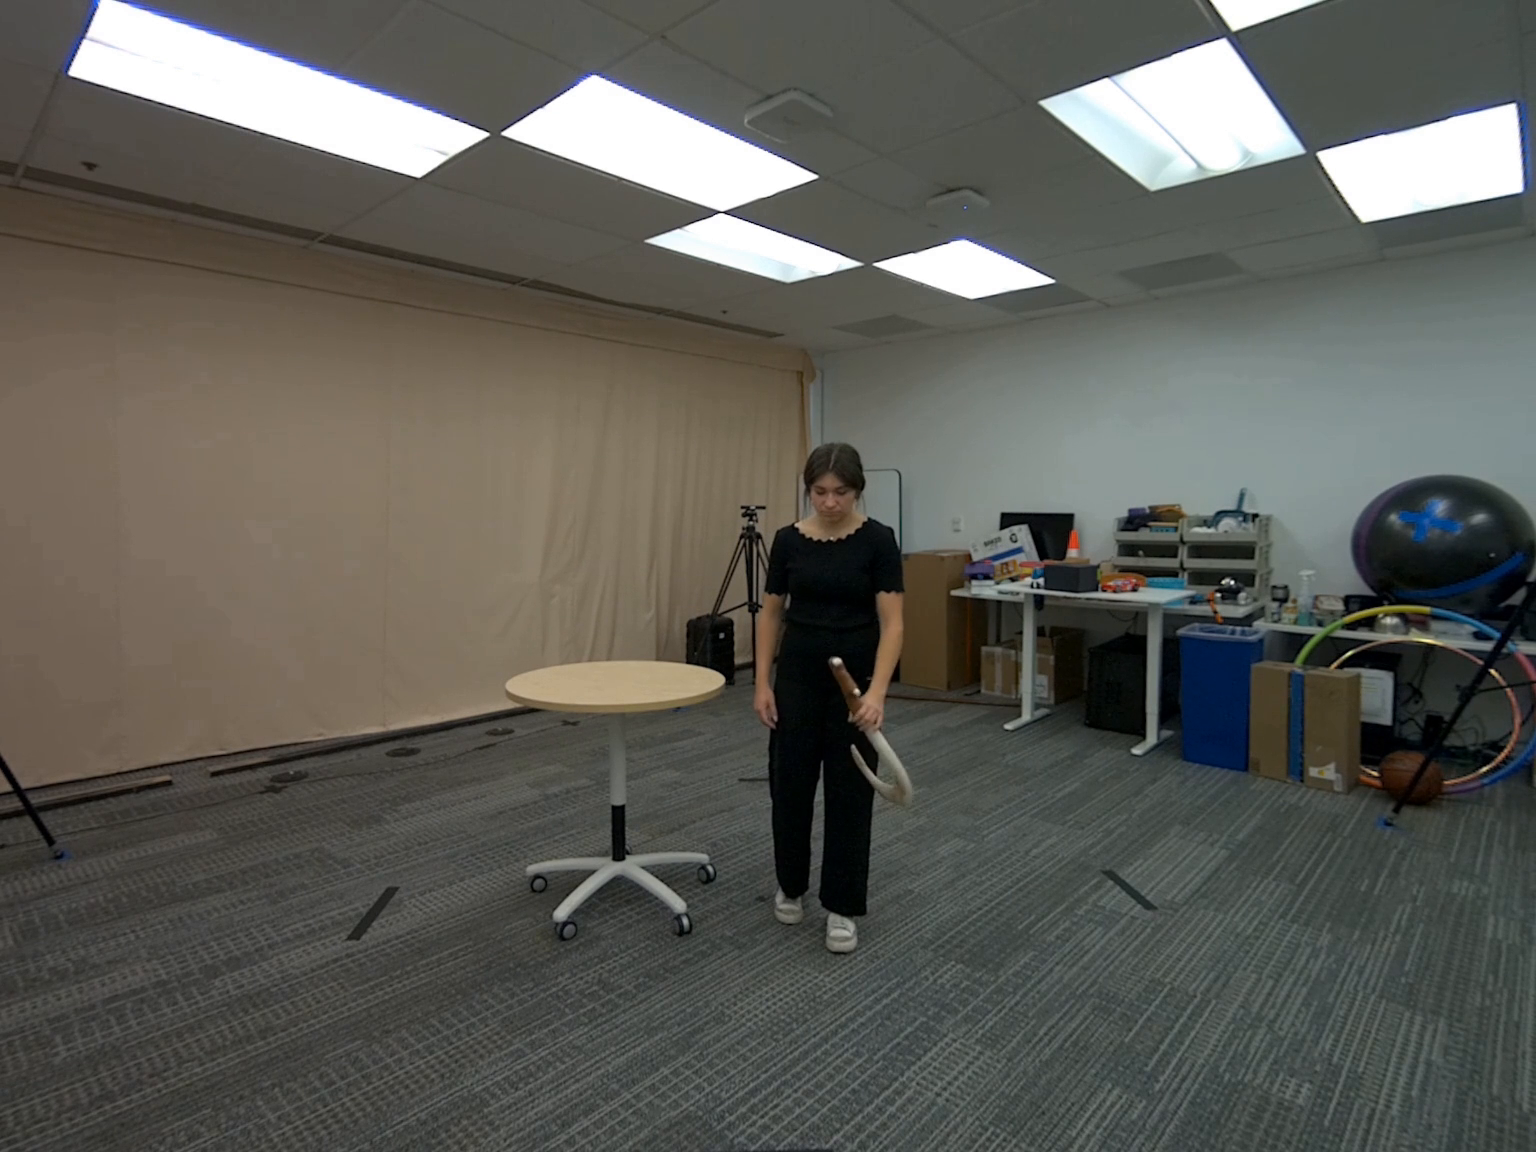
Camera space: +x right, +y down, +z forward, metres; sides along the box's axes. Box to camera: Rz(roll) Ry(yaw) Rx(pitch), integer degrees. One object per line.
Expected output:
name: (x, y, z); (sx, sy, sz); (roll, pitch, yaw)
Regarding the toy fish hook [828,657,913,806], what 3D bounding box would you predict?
toy fish hook: (0.280, 0.452, 2.495); (0.047, 0.502, 0.230); (-30, 9, -32)
